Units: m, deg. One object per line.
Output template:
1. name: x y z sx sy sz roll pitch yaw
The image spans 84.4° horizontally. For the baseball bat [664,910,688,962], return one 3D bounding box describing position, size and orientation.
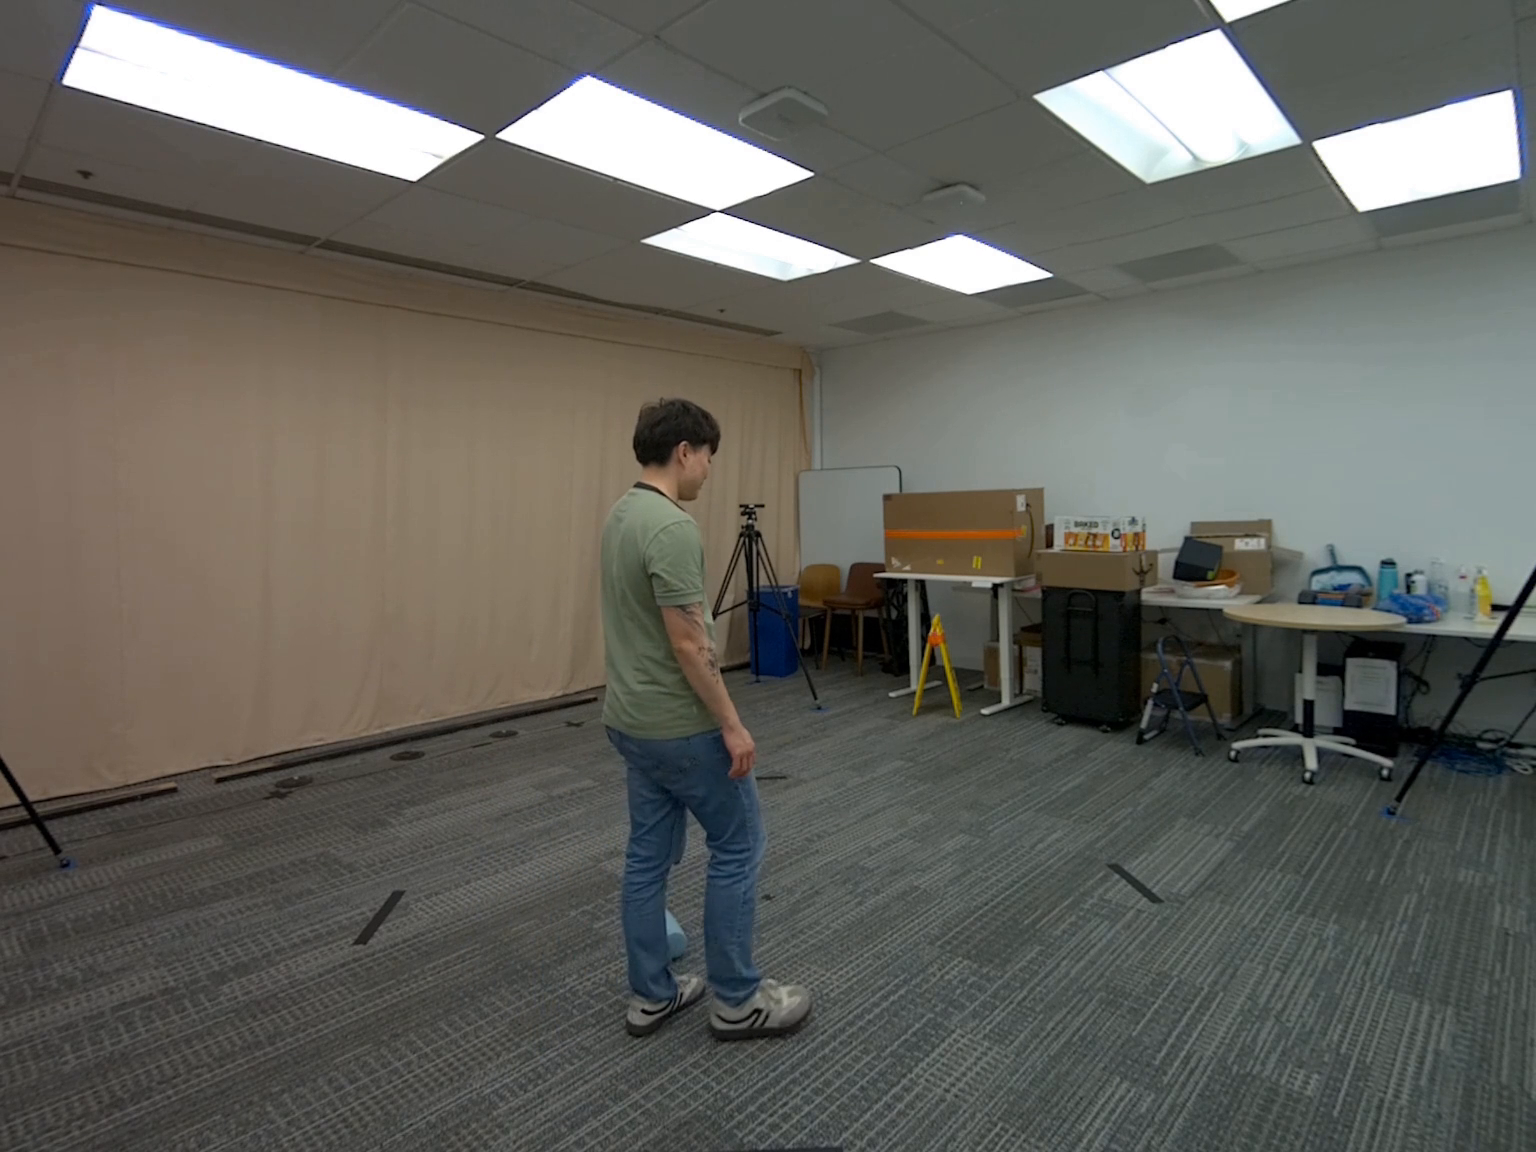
1. baseball bat: -0.385 1.129 2.820 0.087 0.089 0.554 -2 2 -21
